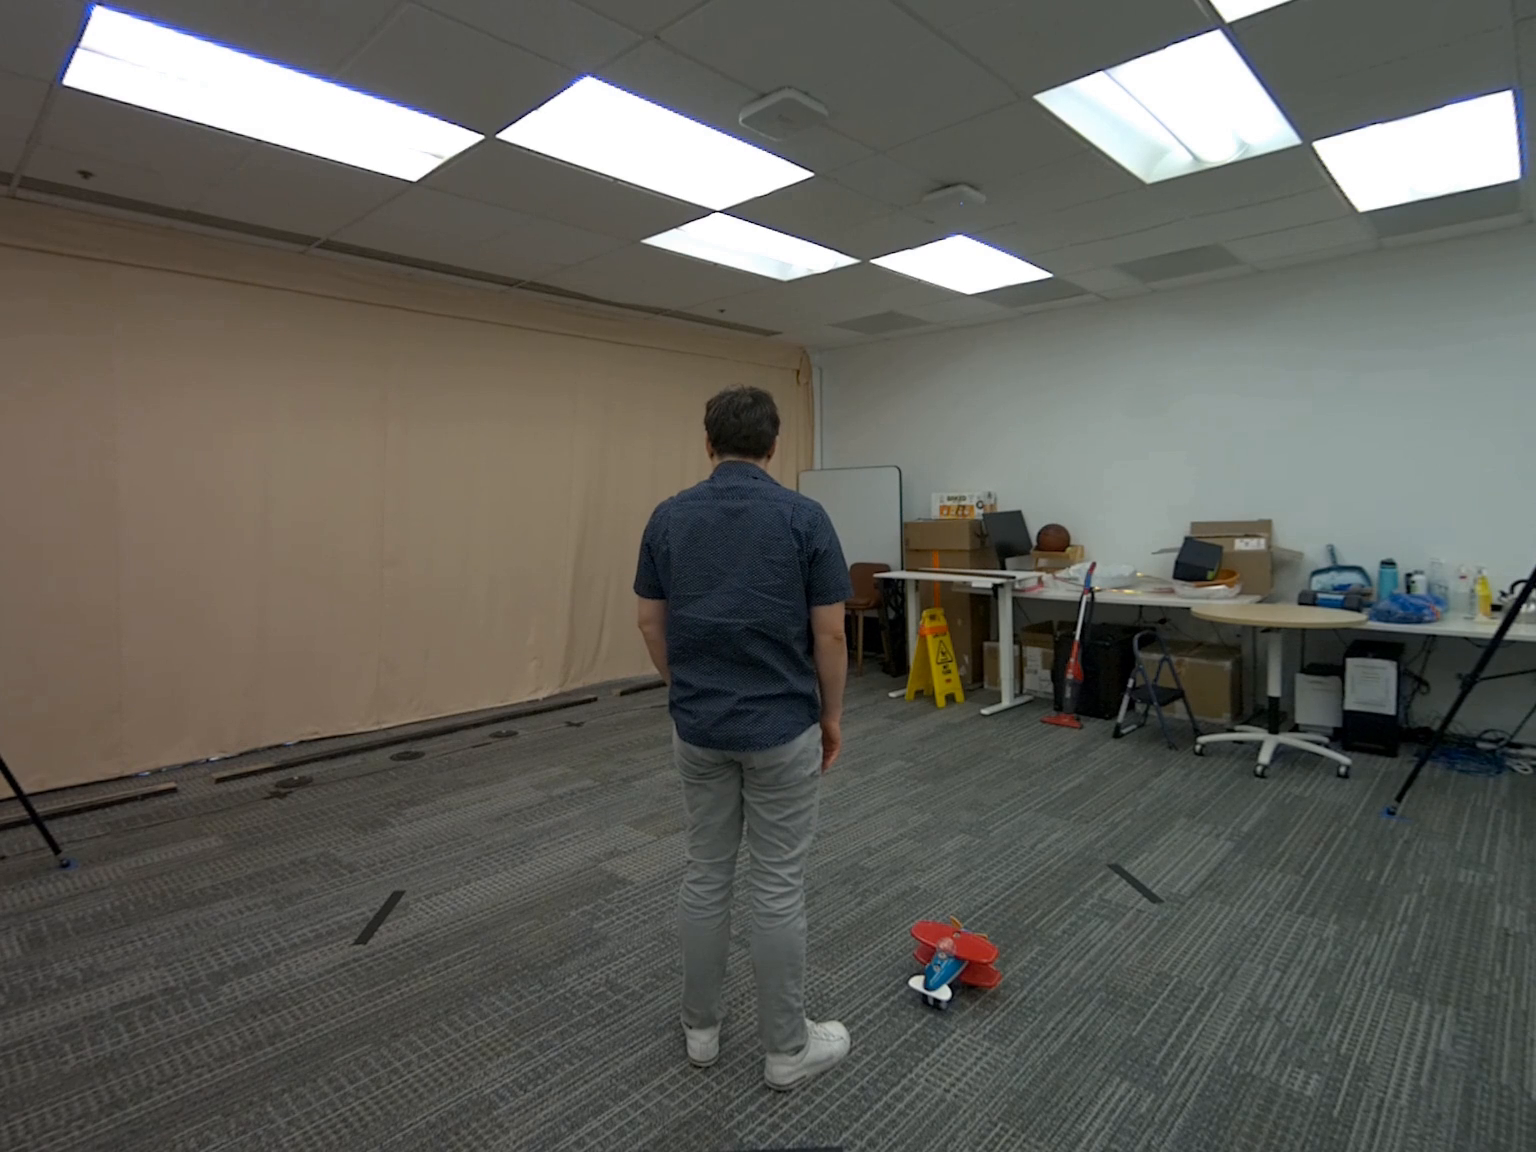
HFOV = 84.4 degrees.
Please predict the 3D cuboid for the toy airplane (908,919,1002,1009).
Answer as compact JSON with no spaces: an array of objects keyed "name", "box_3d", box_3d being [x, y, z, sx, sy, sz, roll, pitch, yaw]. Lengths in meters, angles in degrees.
[{"name":"toy airplane","box_3d":[0.535,1.108,2.379,0.255,0.156,0.256,1,4,13]}]
